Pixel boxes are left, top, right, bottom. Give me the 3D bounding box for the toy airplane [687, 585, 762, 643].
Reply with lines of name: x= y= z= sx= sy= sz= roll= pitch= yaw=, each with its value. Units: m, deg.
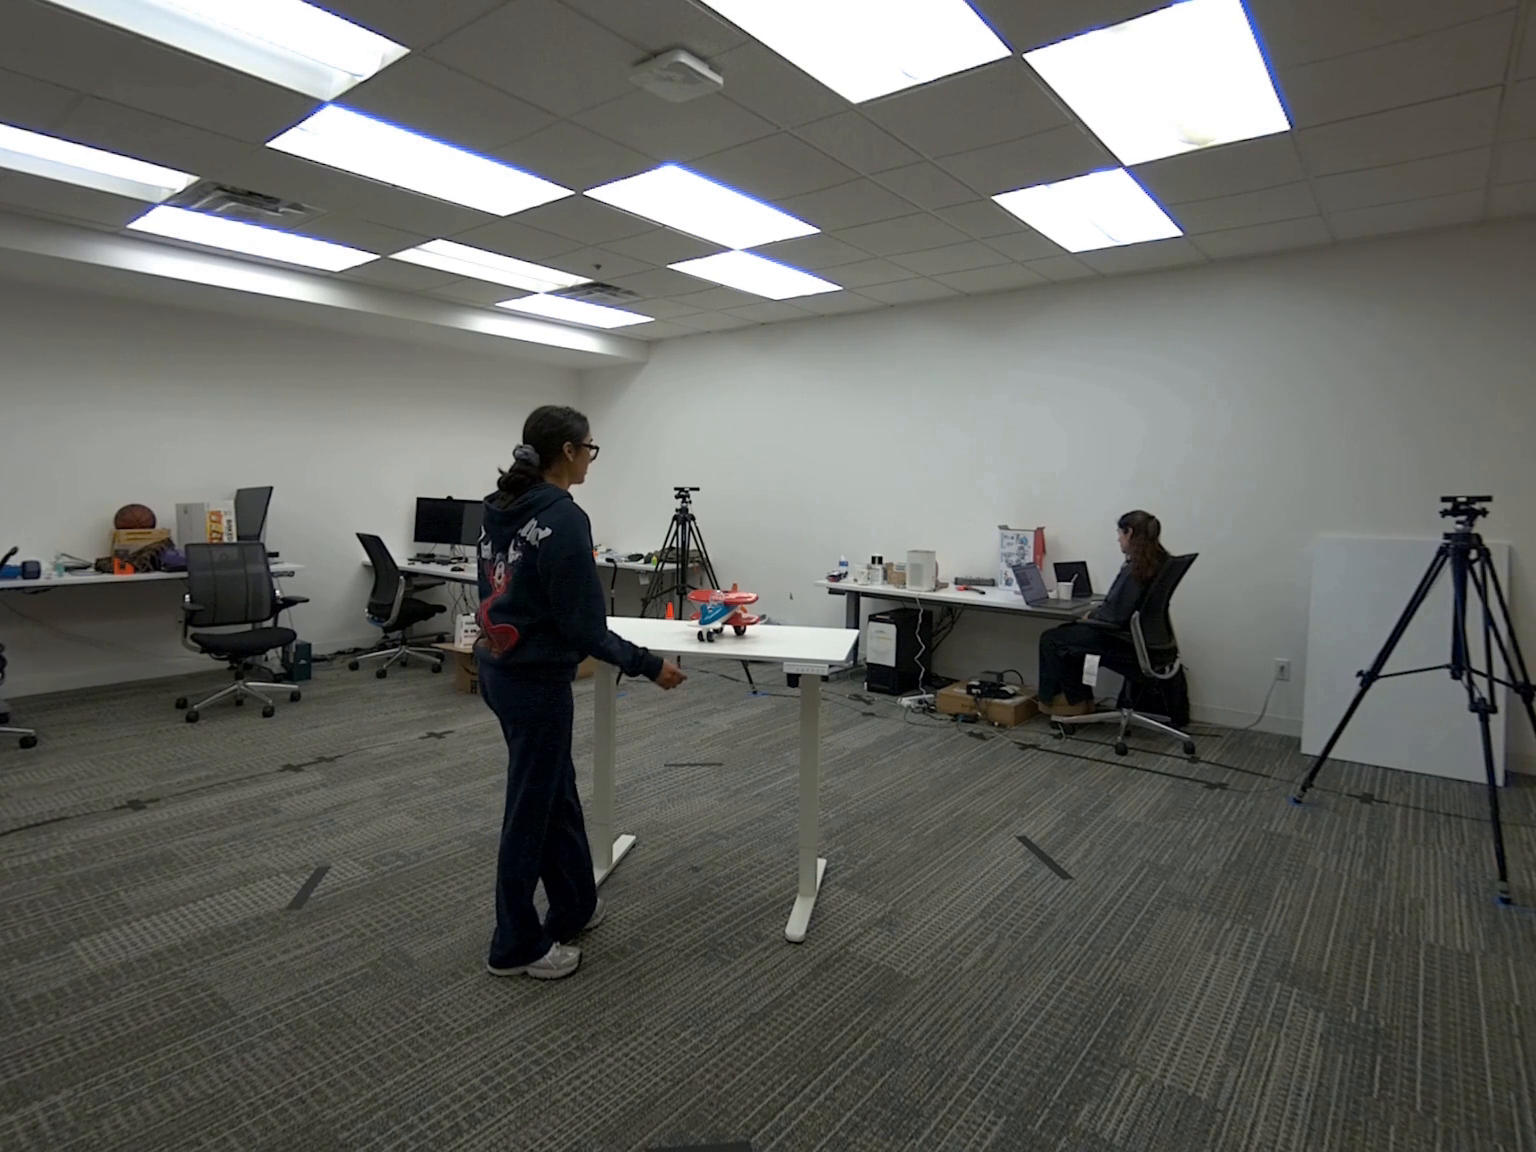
toy airplane: x=-0.156 y=0.133 z=2.897 sx=0.250 sy=0.156 sz=0.261 roll=0 pitch=4 yaw=-5
